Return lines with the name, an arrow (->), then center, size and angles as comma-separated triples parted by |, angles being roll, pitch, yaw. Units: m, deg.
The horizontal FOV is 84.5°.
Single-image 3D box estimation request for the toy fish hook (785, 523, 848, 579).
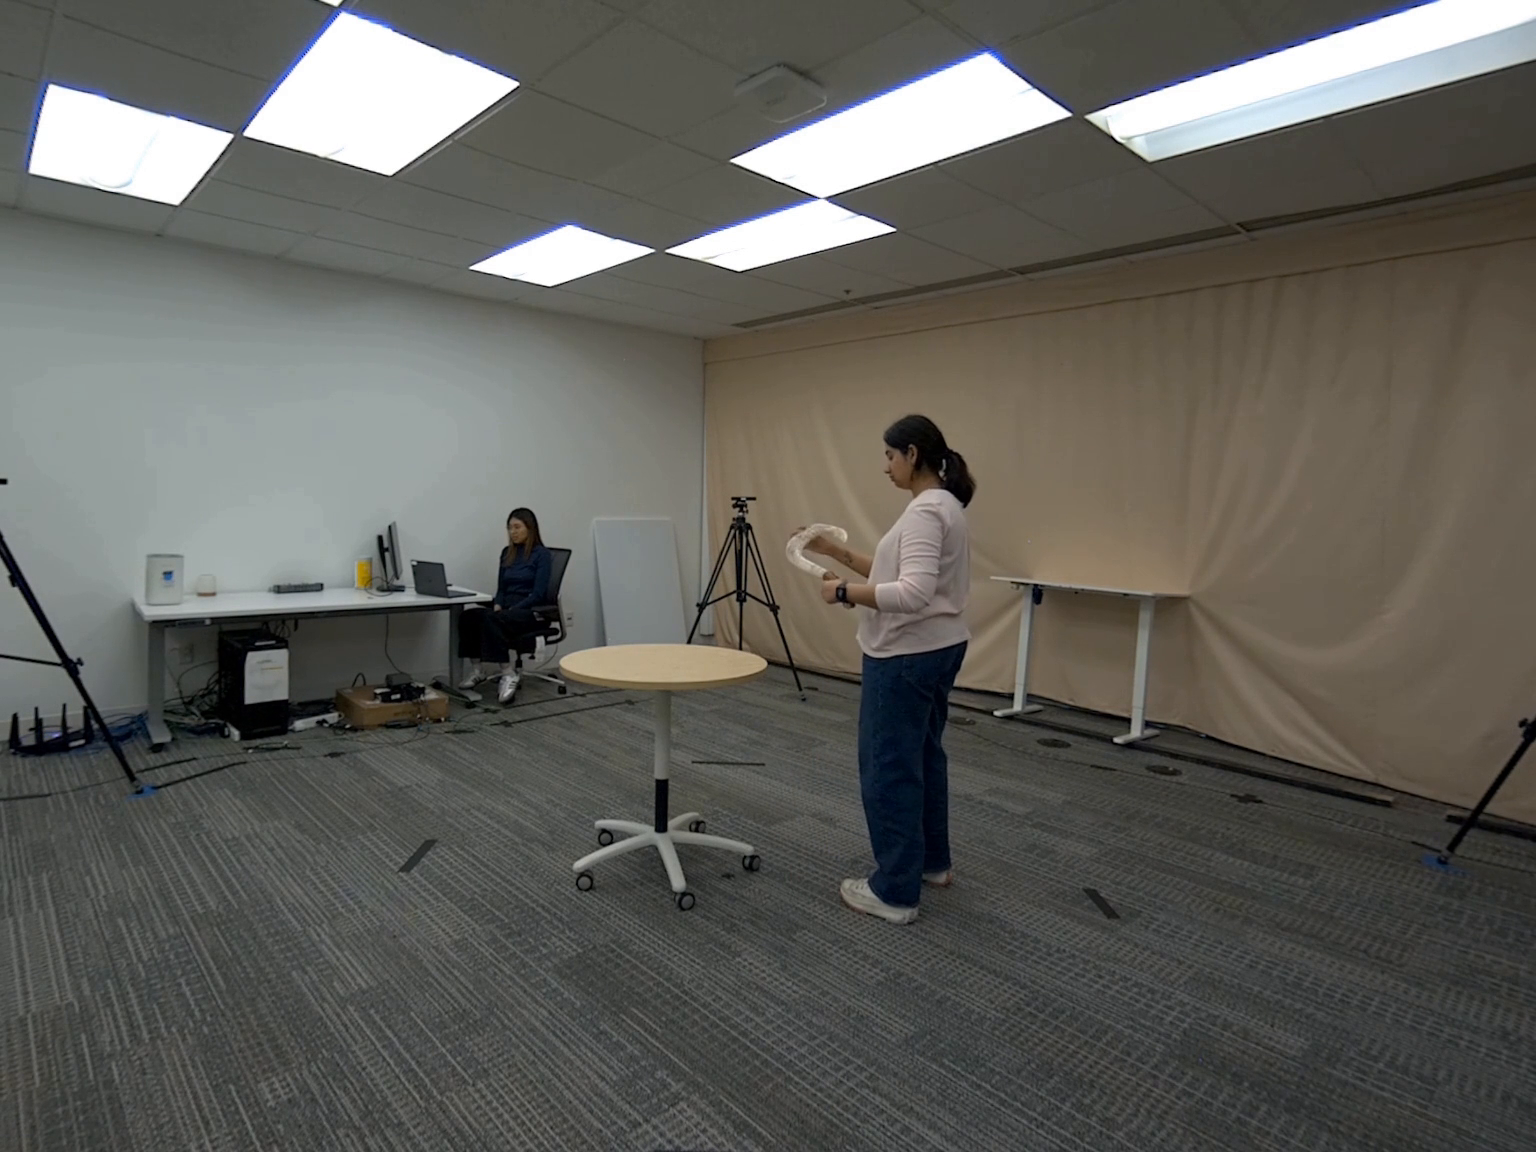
toy fish hook -> 0.225, -0.046, 2.933 | 0.224, 0.047, 0.521 | -35, 35, 0
